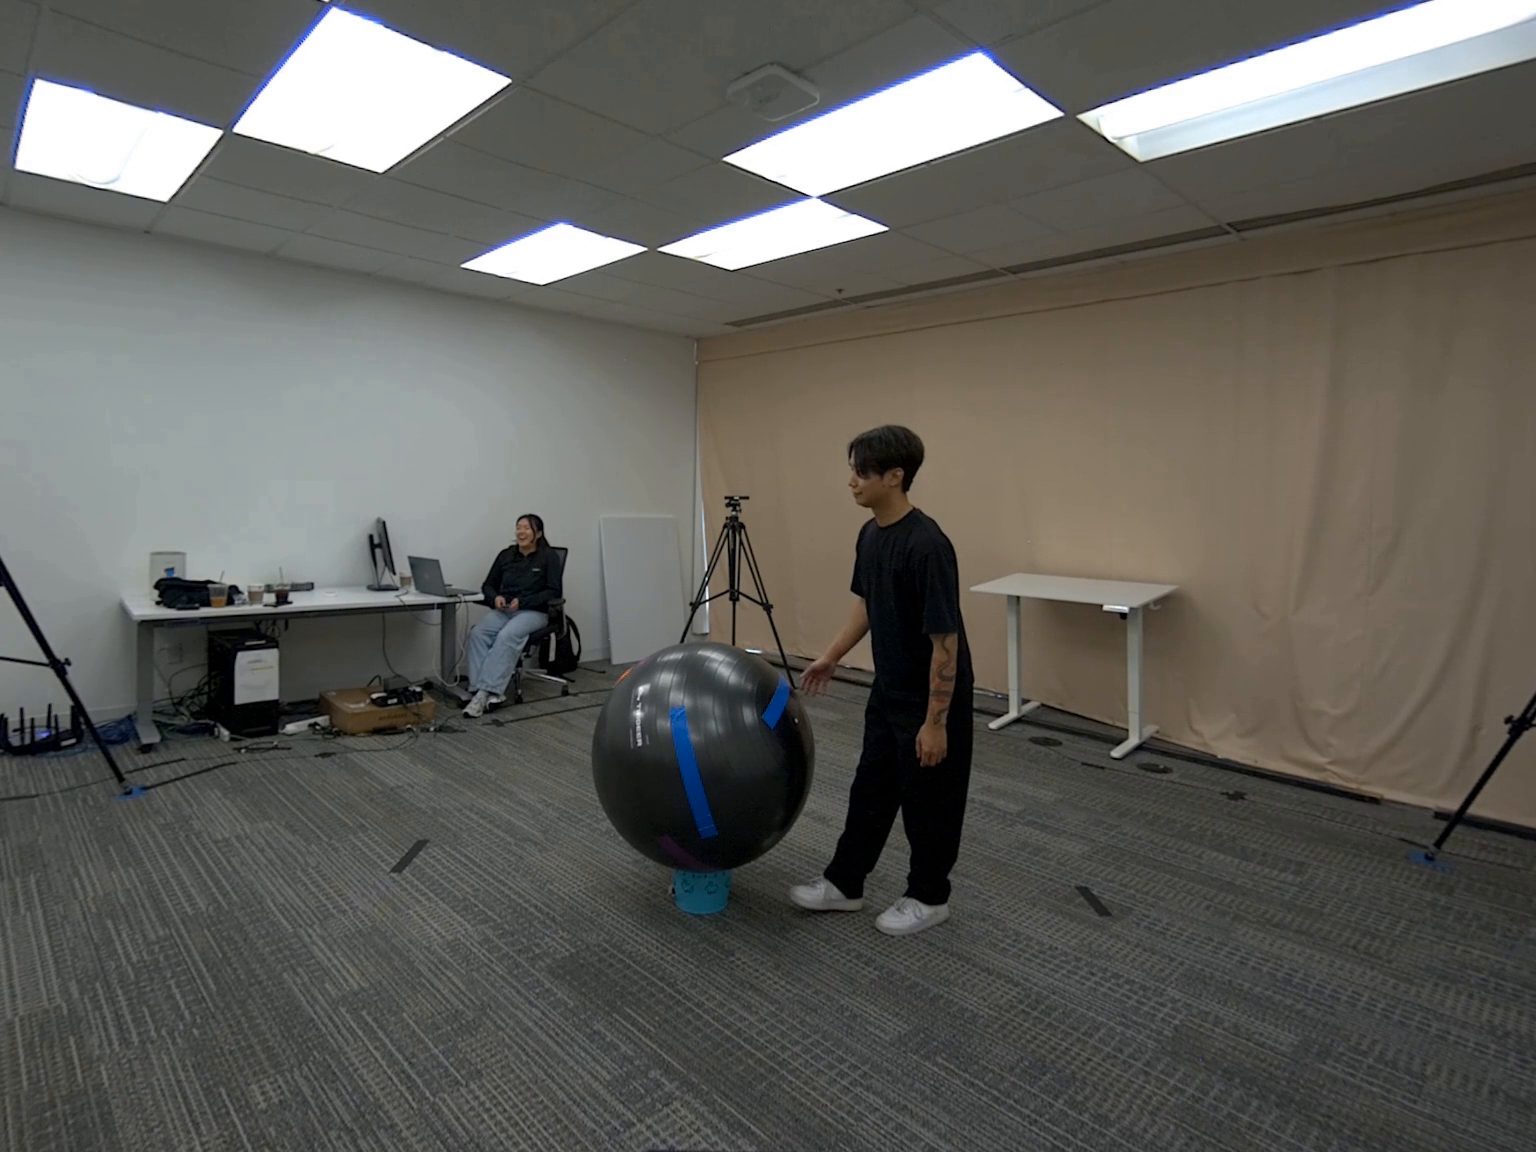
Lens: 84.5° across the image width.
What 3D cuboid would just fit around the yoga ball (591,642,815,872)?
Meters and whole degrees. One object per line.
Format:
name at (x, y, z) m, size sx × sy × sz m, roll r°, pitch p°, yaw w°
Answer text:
yoga ball at (-0.230, 0.610, 2.880) m, size 0.757 × 0.756 × 0.761 m, roll 1°, pitch 4°, yaw -1°
